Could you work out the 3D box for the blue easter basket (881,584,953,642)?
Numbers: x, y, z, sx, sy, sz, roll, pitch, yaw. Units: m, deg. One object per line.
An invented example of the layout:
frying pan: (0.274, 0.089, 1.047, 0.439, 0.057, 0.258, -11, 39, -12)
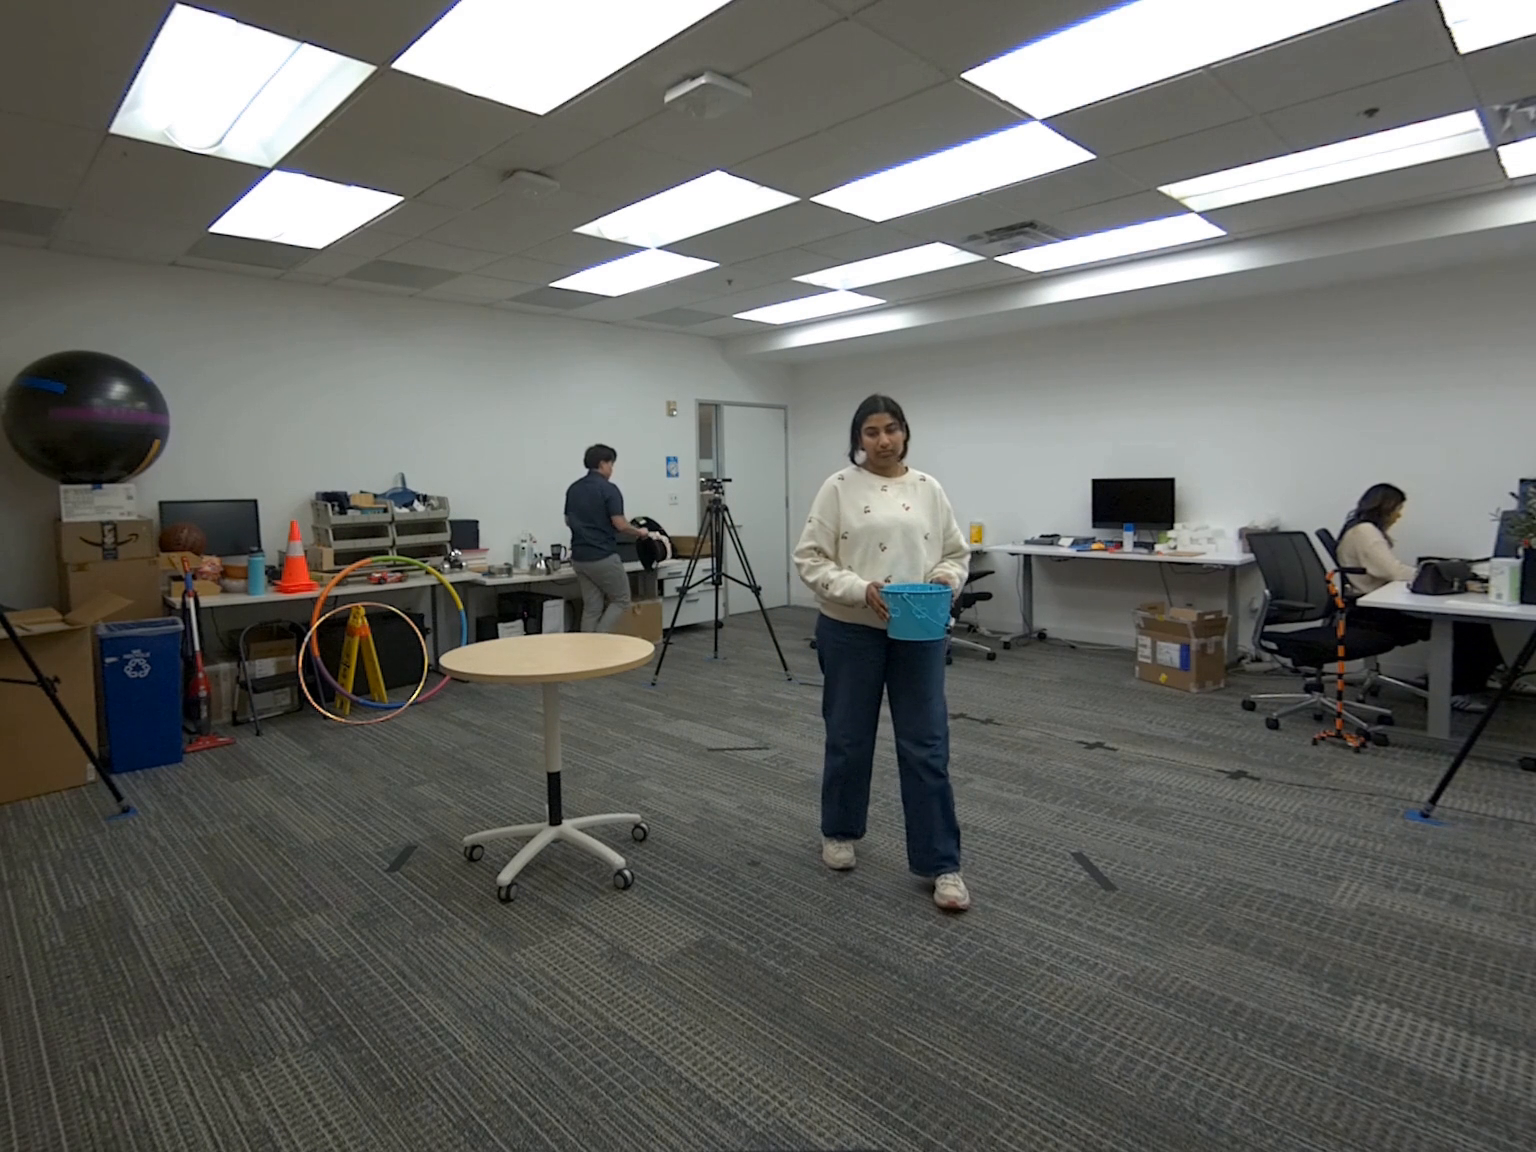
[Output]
blue easter basket: (0.480, 0.114, 2.692, 0.243, 0.155, 0.245, -3, 5, -1)
